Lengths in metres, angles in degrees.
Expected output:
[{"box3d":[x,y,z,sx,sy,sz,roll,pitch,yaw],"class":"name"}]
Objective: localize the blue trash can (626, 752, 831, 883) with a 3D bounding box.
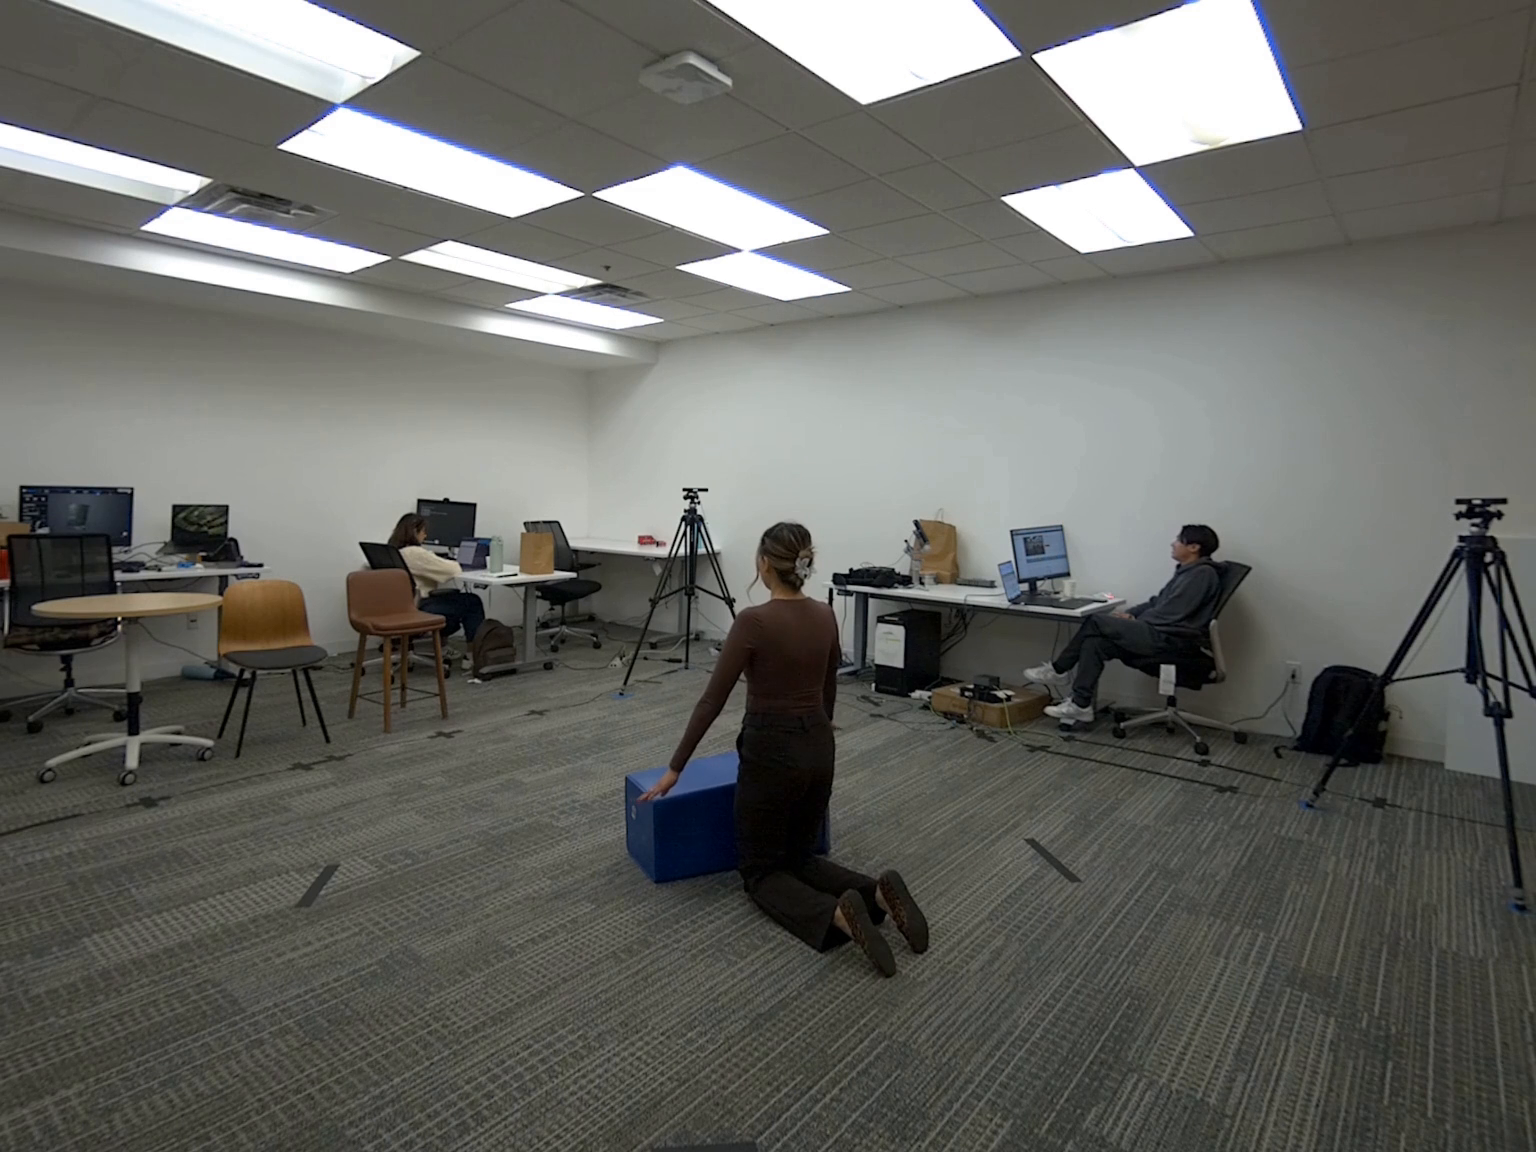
[{"box3d":[-0.169,0.880,3.256,0.697,0.376,0.385,-3,6,-26],"class":"blue trash can"}]
